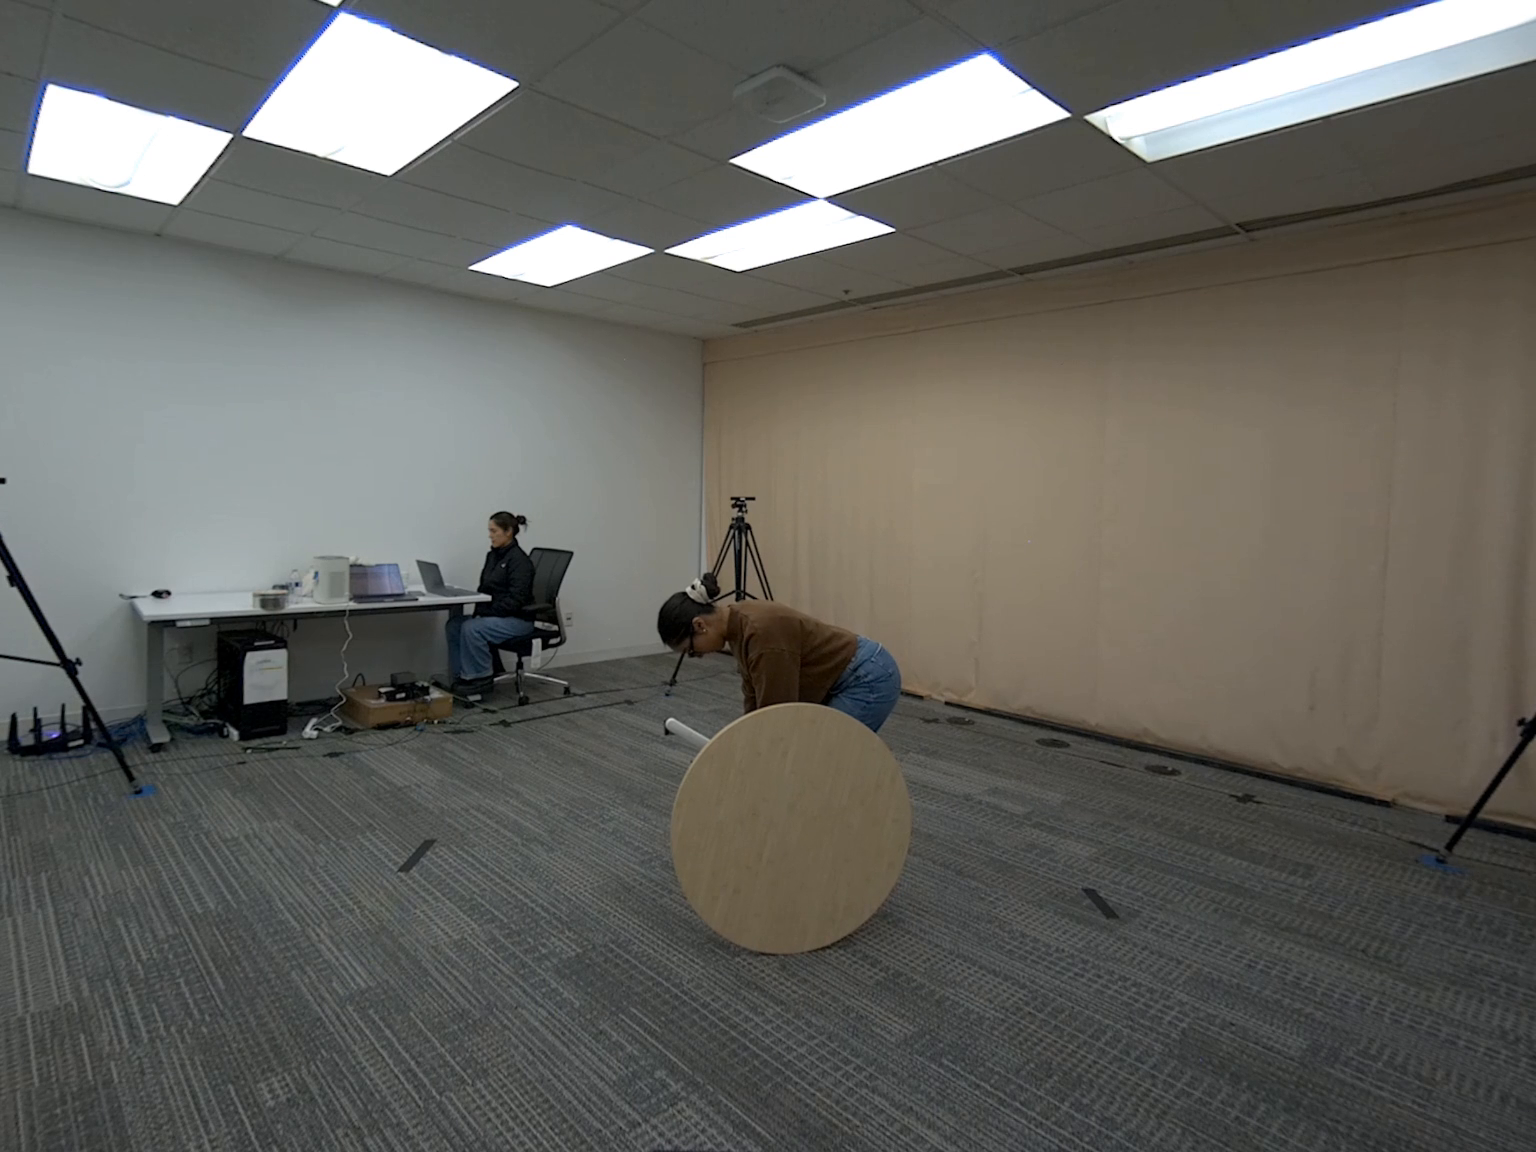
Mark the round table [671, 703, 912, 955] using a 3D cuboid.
[{"bbox_3d":[-0.020,0.768,2.970,0.756,0.764,0.802,0,0,-13],"label":"round table"}]
